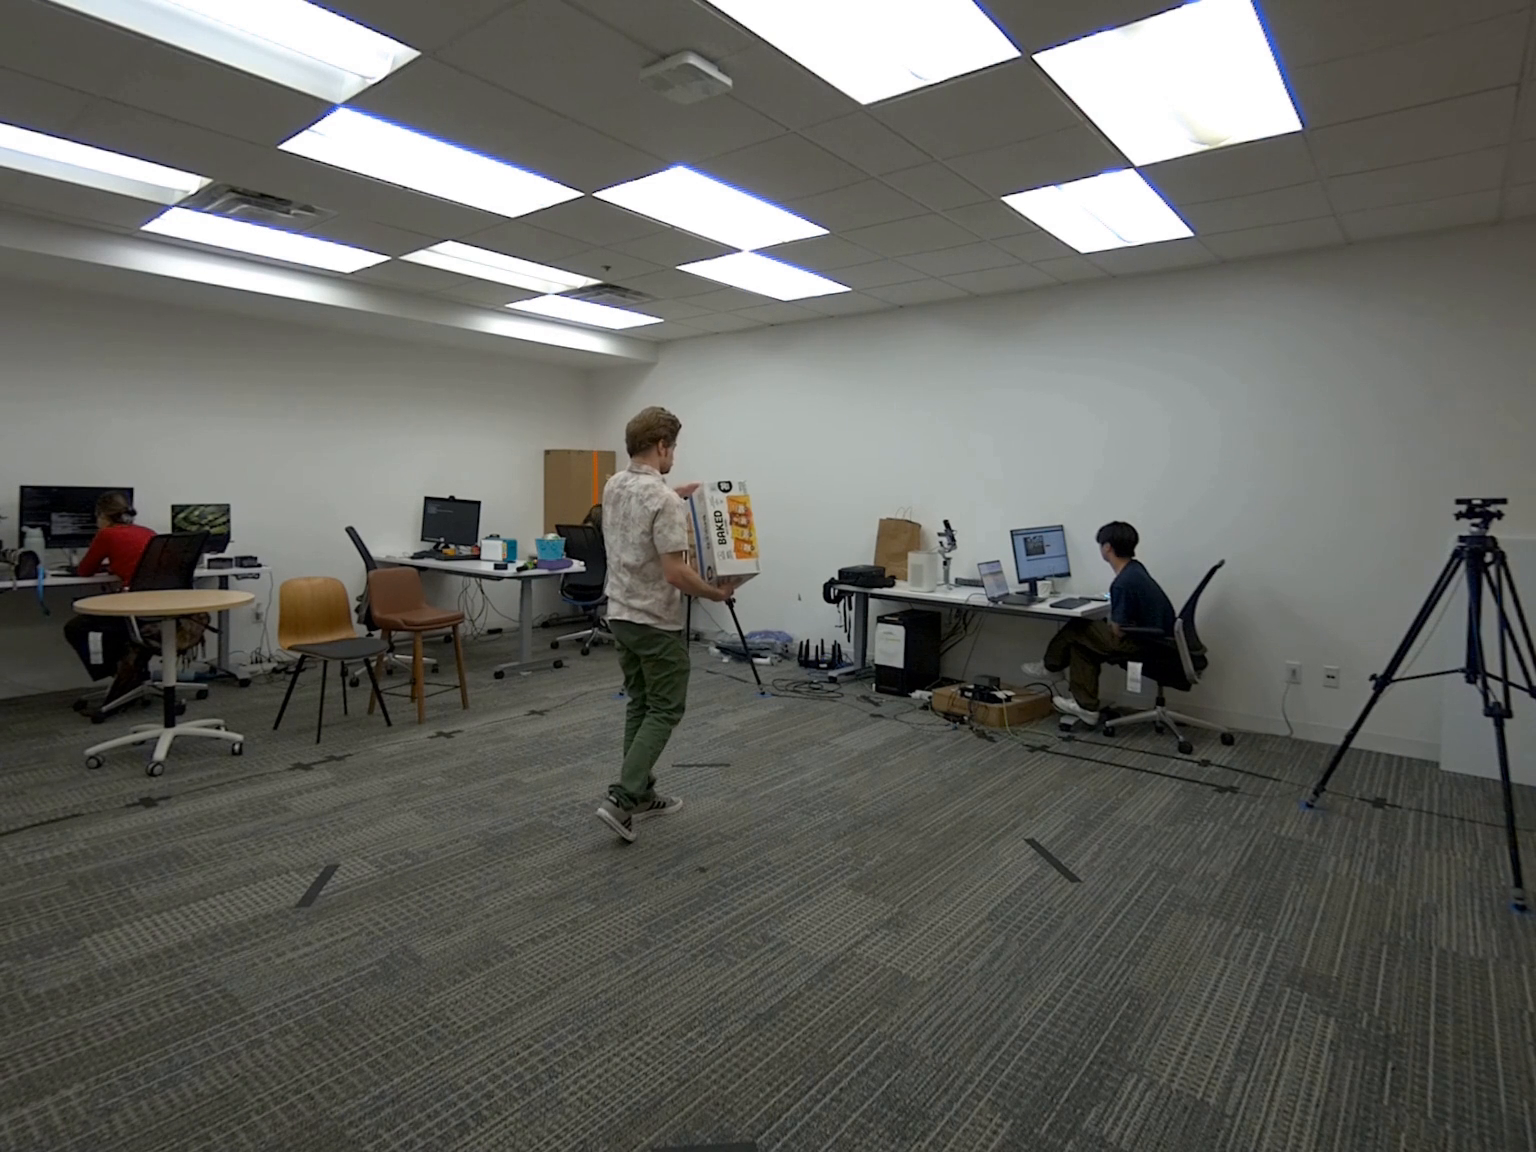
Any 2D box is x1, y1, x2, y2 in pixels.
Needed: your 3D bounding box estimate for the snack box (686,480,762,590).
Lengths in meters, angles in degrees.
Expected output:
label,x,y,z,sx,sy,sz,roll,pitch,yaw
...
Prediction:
label,x,y,z,sx,sy,sz,roll,pitch,yaw
snack box,-0.217,-0.167,3.664,0.201,0.411,0.342,-3,-14,-22
